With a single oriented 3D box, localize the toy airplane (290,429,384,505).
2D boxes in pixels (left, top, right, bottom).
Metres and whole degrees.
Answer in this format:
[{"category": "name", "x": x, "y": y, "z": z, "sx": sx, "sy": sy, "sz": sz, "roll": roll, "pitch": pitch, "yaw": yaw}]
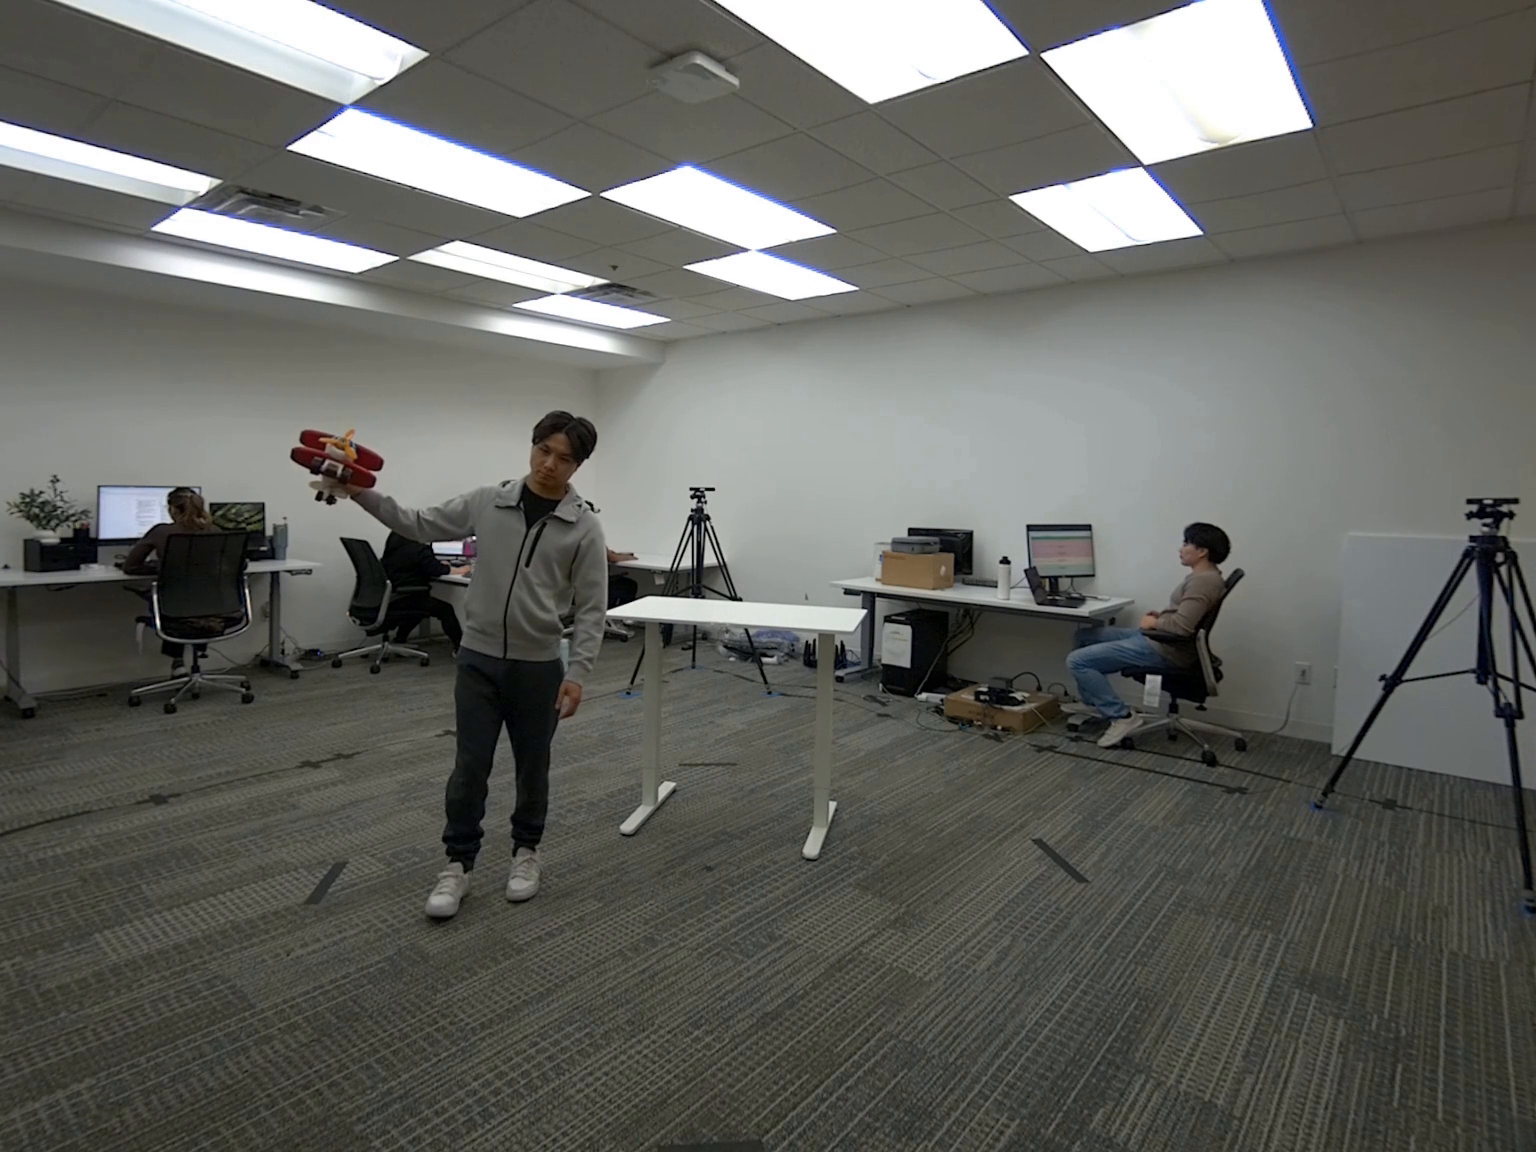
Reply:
[{"category": "toy airplane", "x": -1.397, "y": -0.341, "z": 2.665, "sx": 0.265, "sy": 0.159, "sz": 0.240, "roll": -10, "pitch": -32, "yaw": 33}]
